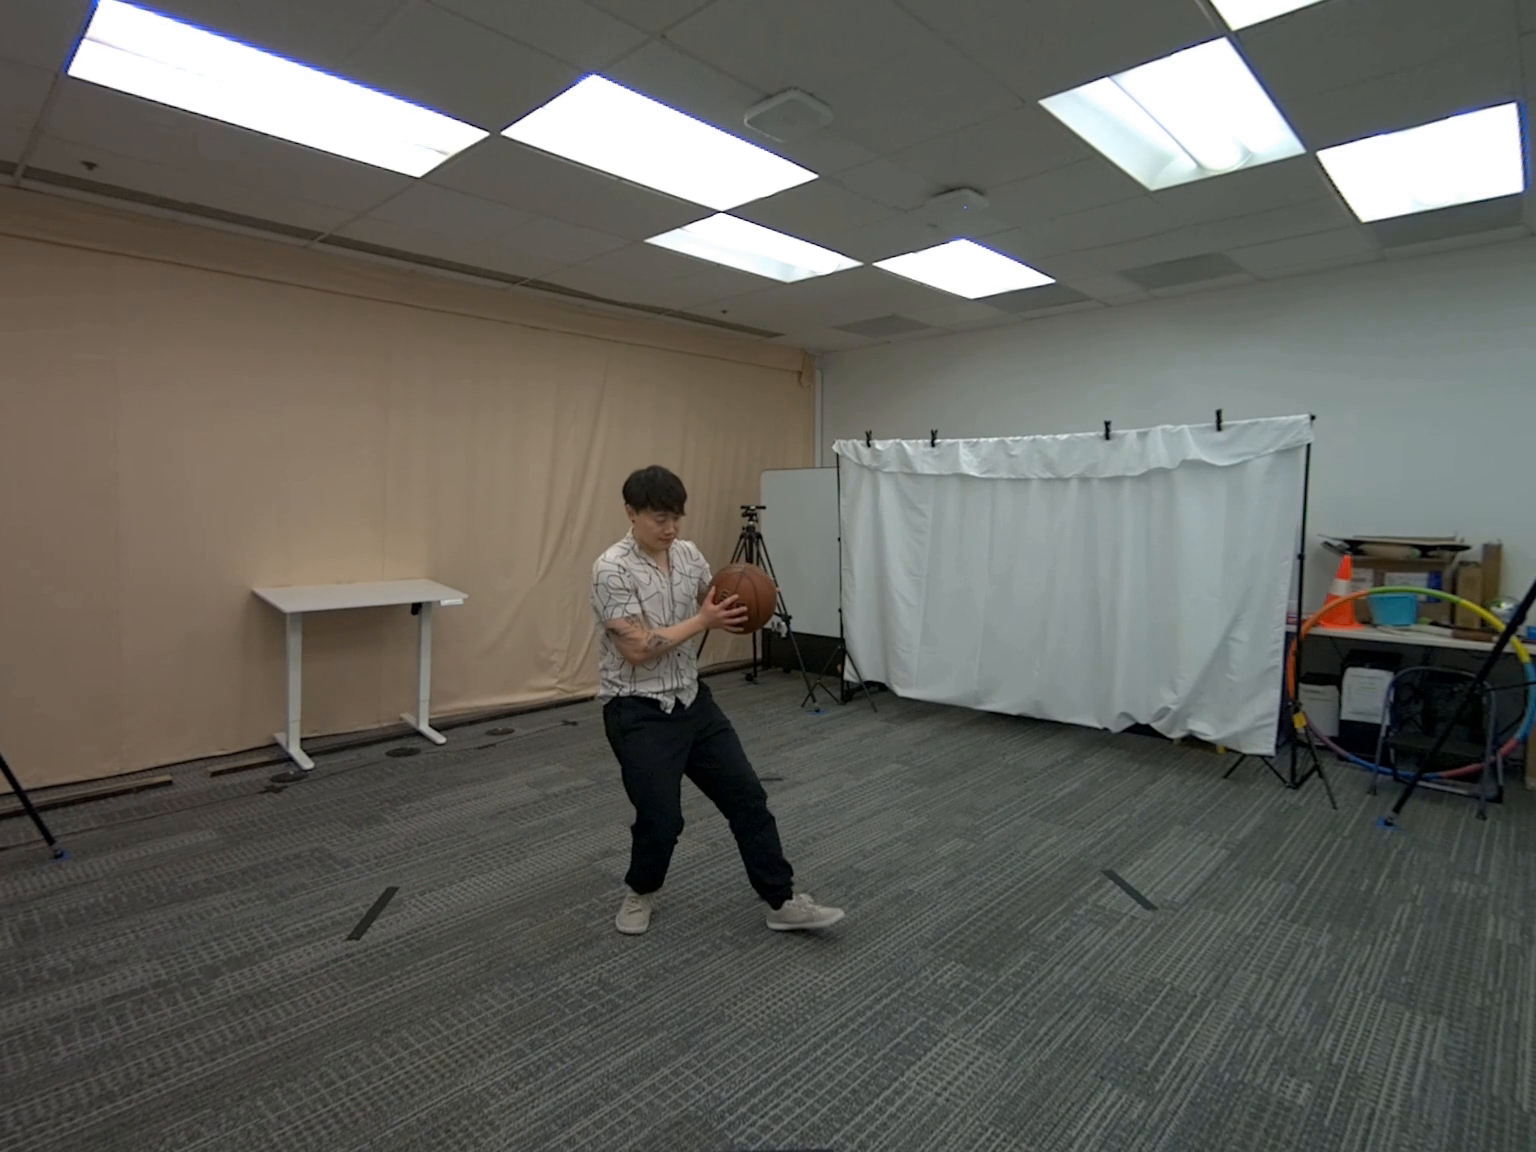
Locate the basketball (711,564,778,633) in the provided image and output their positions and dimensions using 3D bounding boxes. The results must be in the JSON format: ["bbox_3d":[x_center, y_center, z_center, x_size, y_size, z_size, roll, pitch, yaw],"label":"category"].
[{"bbox_3d":[-0.086,0.067,2.790,0.236,0.235,0.237,0,4,-2],"label":"basketball"}]
